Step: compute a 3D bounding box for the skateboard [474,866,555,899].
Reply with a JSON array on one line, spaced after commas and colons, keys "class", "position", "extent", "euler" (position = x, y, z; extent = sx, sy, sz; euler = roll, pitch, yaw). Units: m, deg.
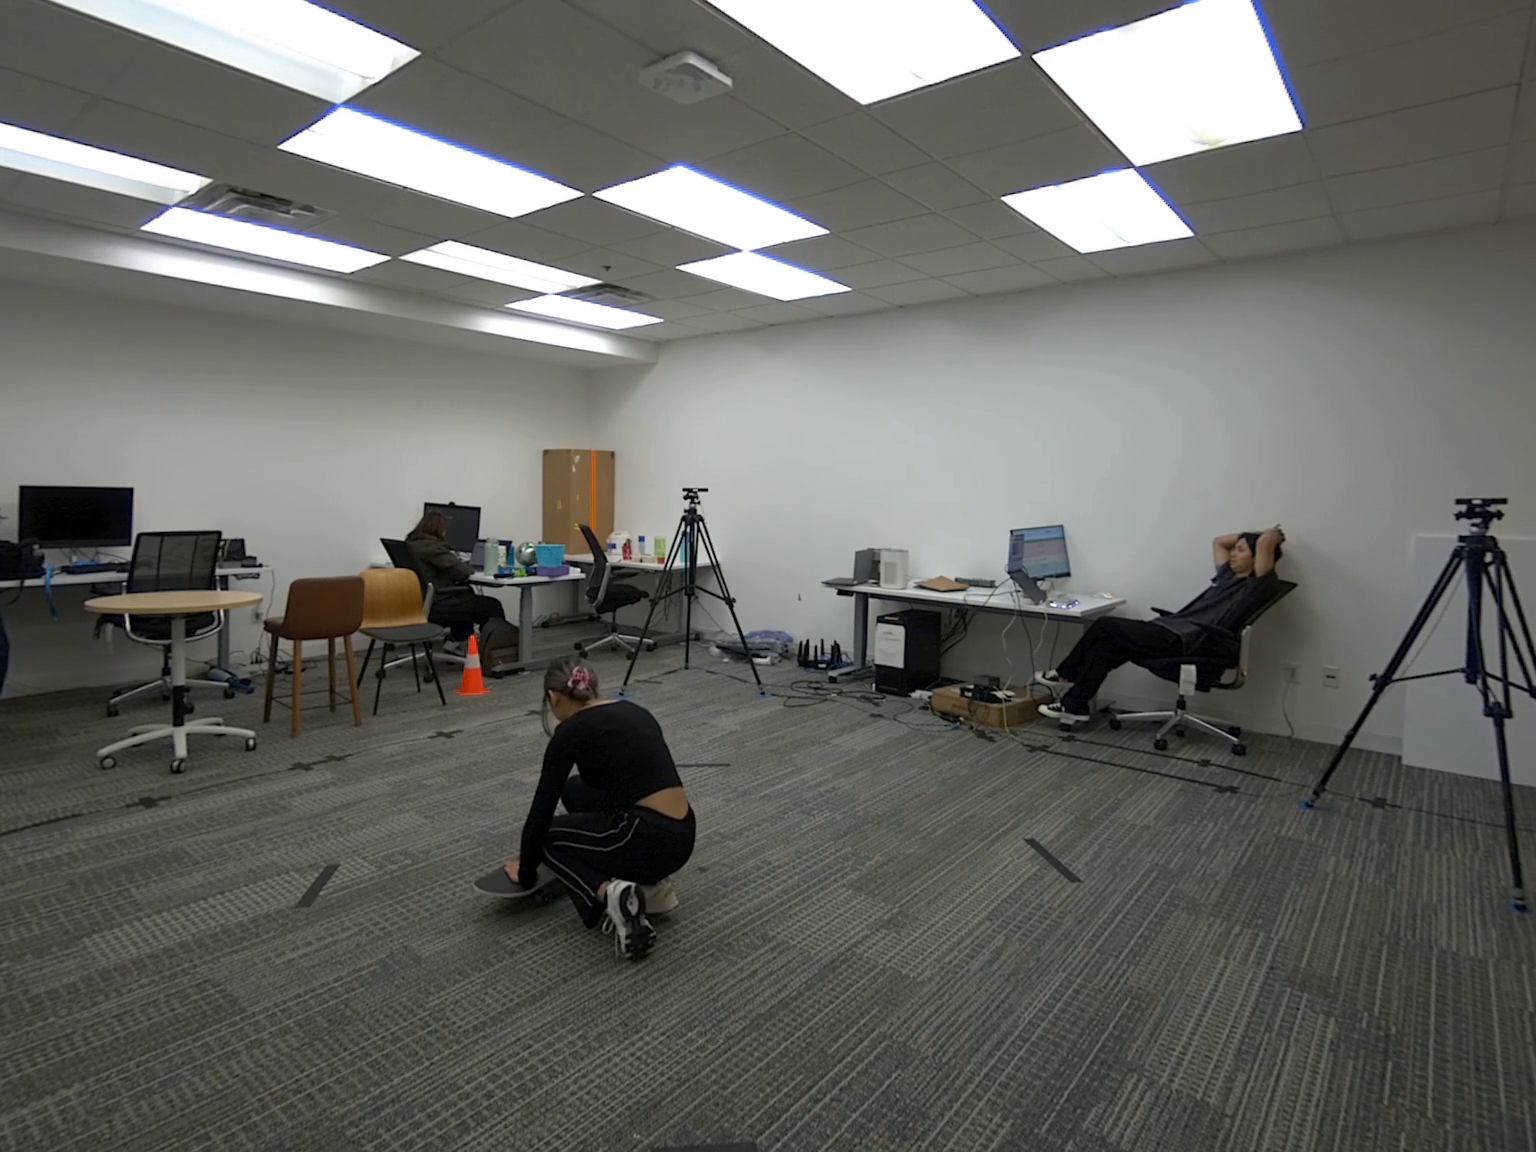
[{"class": "skateboard", "position": [-0.748, 1.008, 3.030], "extent": [0.198, 0.110, 0.768], "euler": [3, 6, 24]}]
